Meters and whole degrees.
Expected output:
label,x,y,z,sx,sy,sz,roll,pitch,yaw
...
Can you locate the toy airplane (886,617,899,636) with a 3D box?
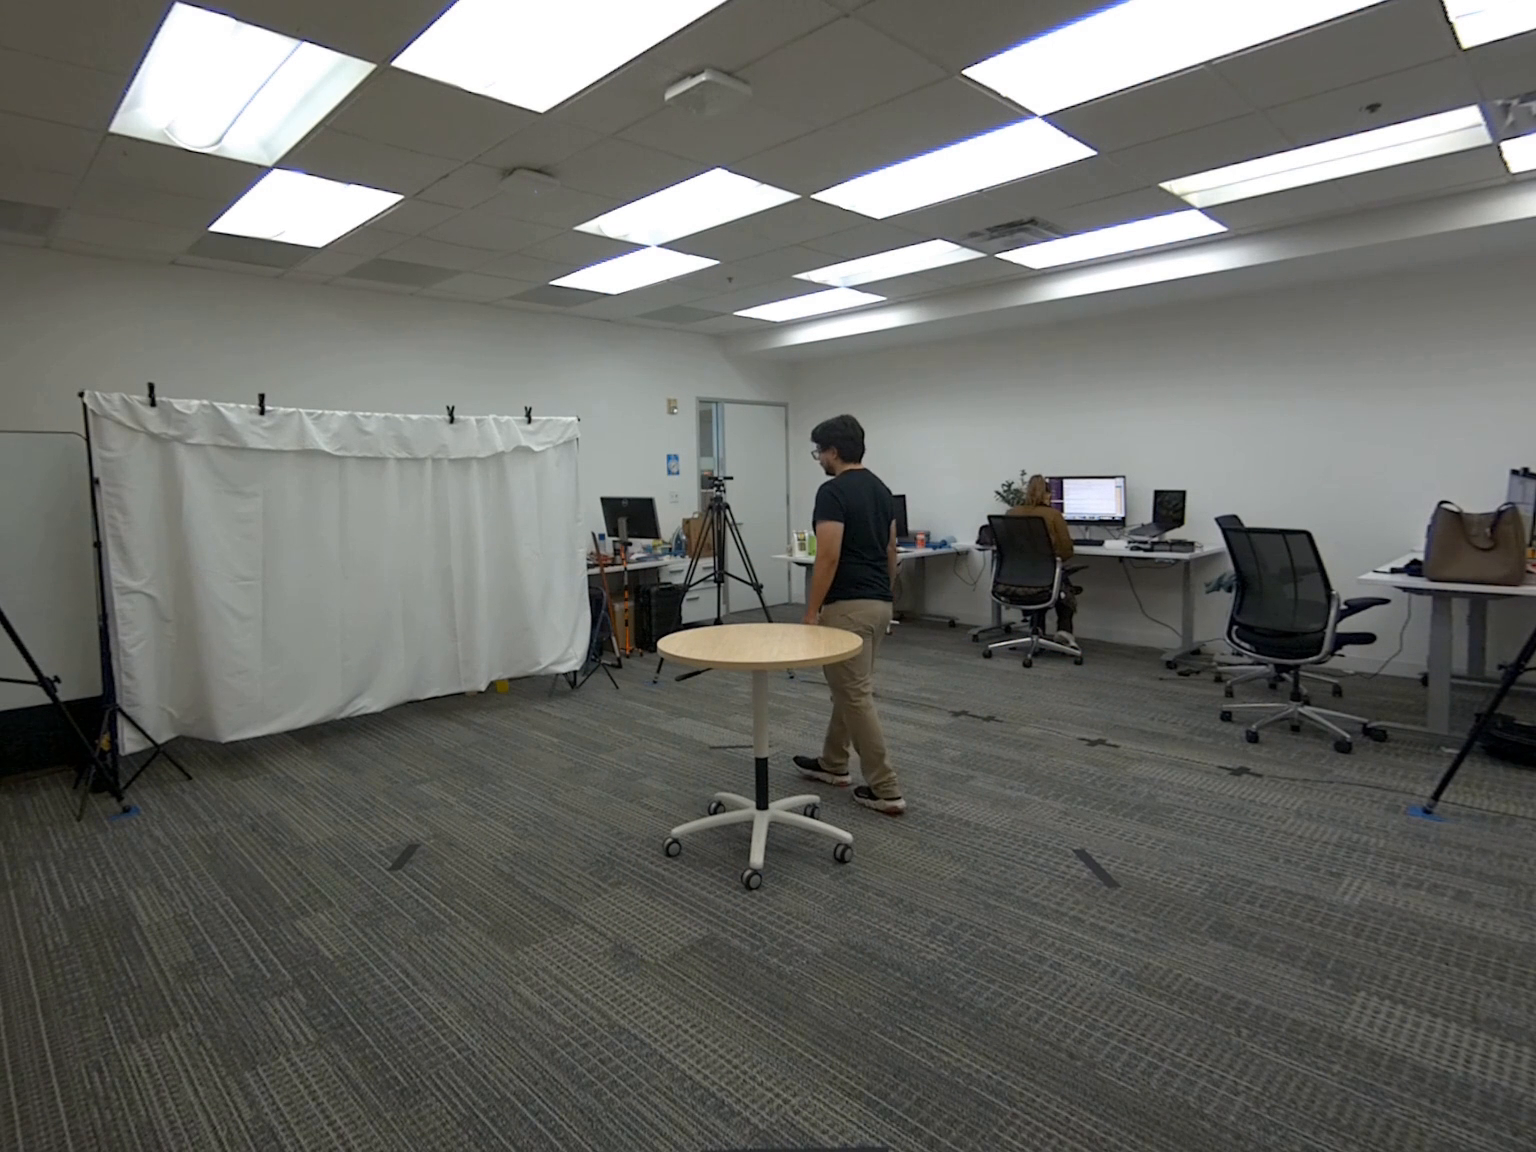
label,x,y,z,sx,sy,sz,roll,pitch,yaw
toy airplane,0.506,0.226,4.042,0.264,0.159,0.242,-13,-20,26
